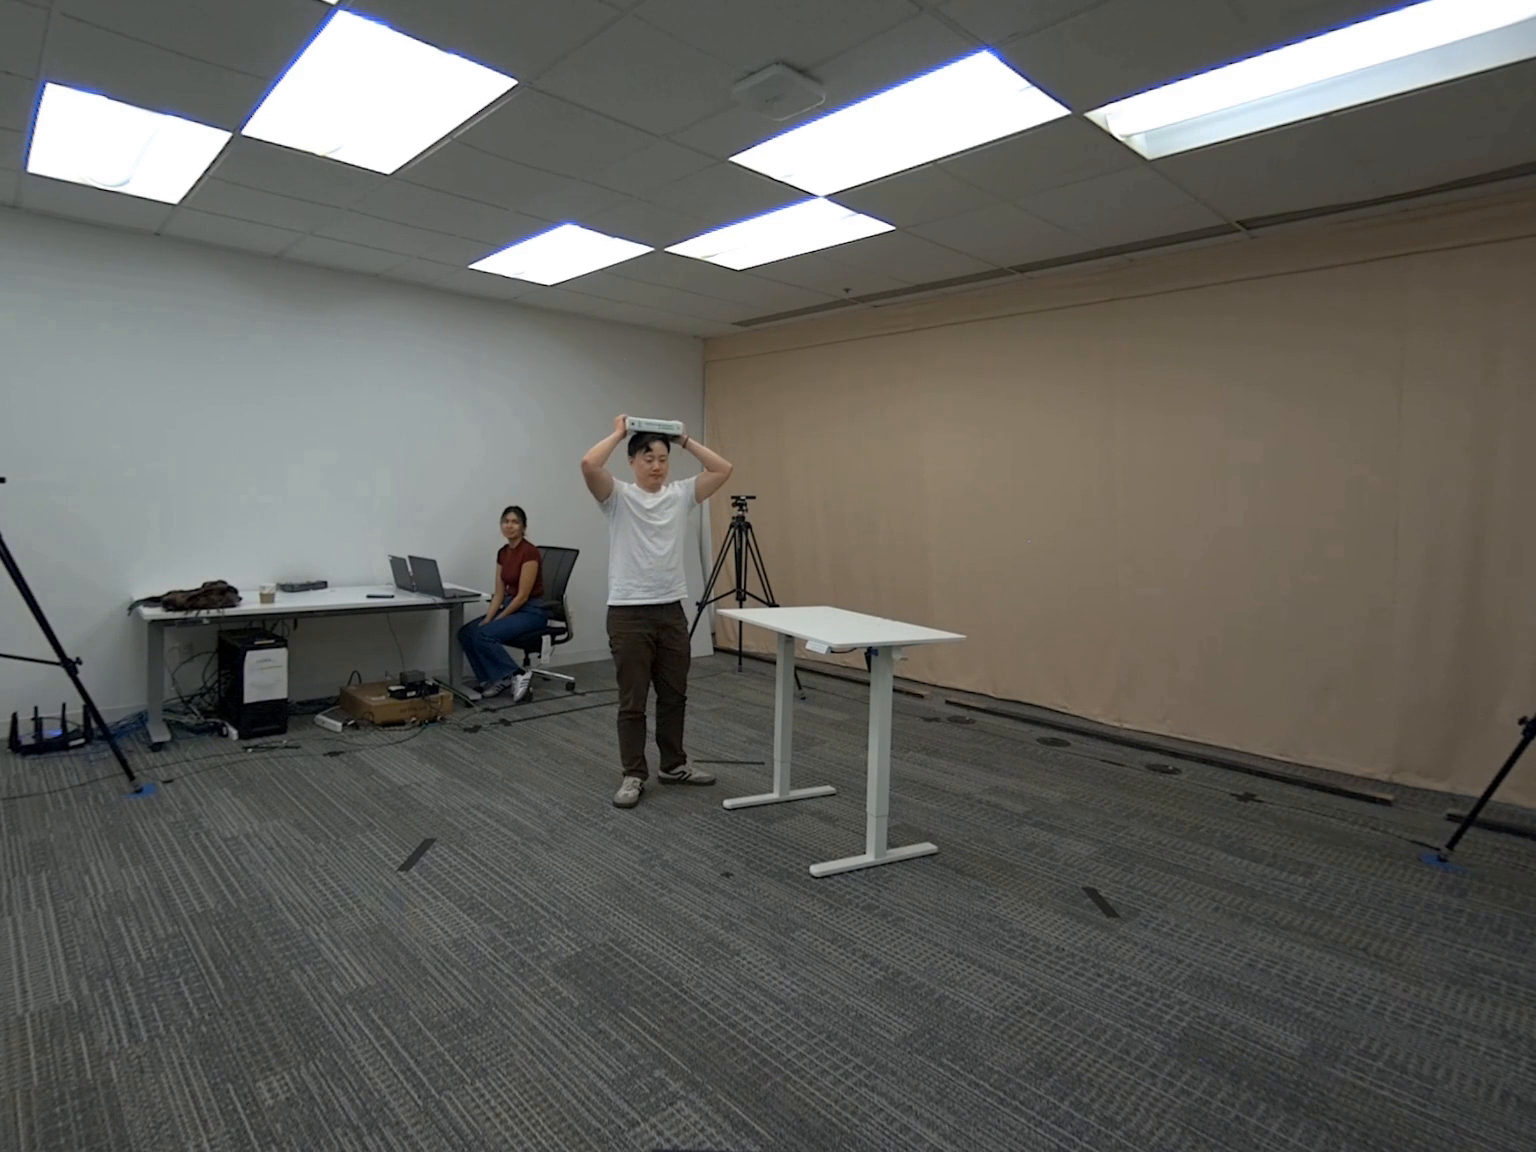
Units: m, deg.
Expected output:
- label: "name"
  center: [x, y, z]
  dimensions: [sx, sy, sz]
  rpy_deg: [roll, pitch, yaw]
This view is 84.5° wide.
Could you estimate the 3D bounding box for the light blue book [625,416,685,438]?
- label: "light blue book"
  center: [-0.554, -0.684, 3.869]
  dimensions: [0.256, 0.059, 0.195]
  rpy_deg: [1, 4, -24]
